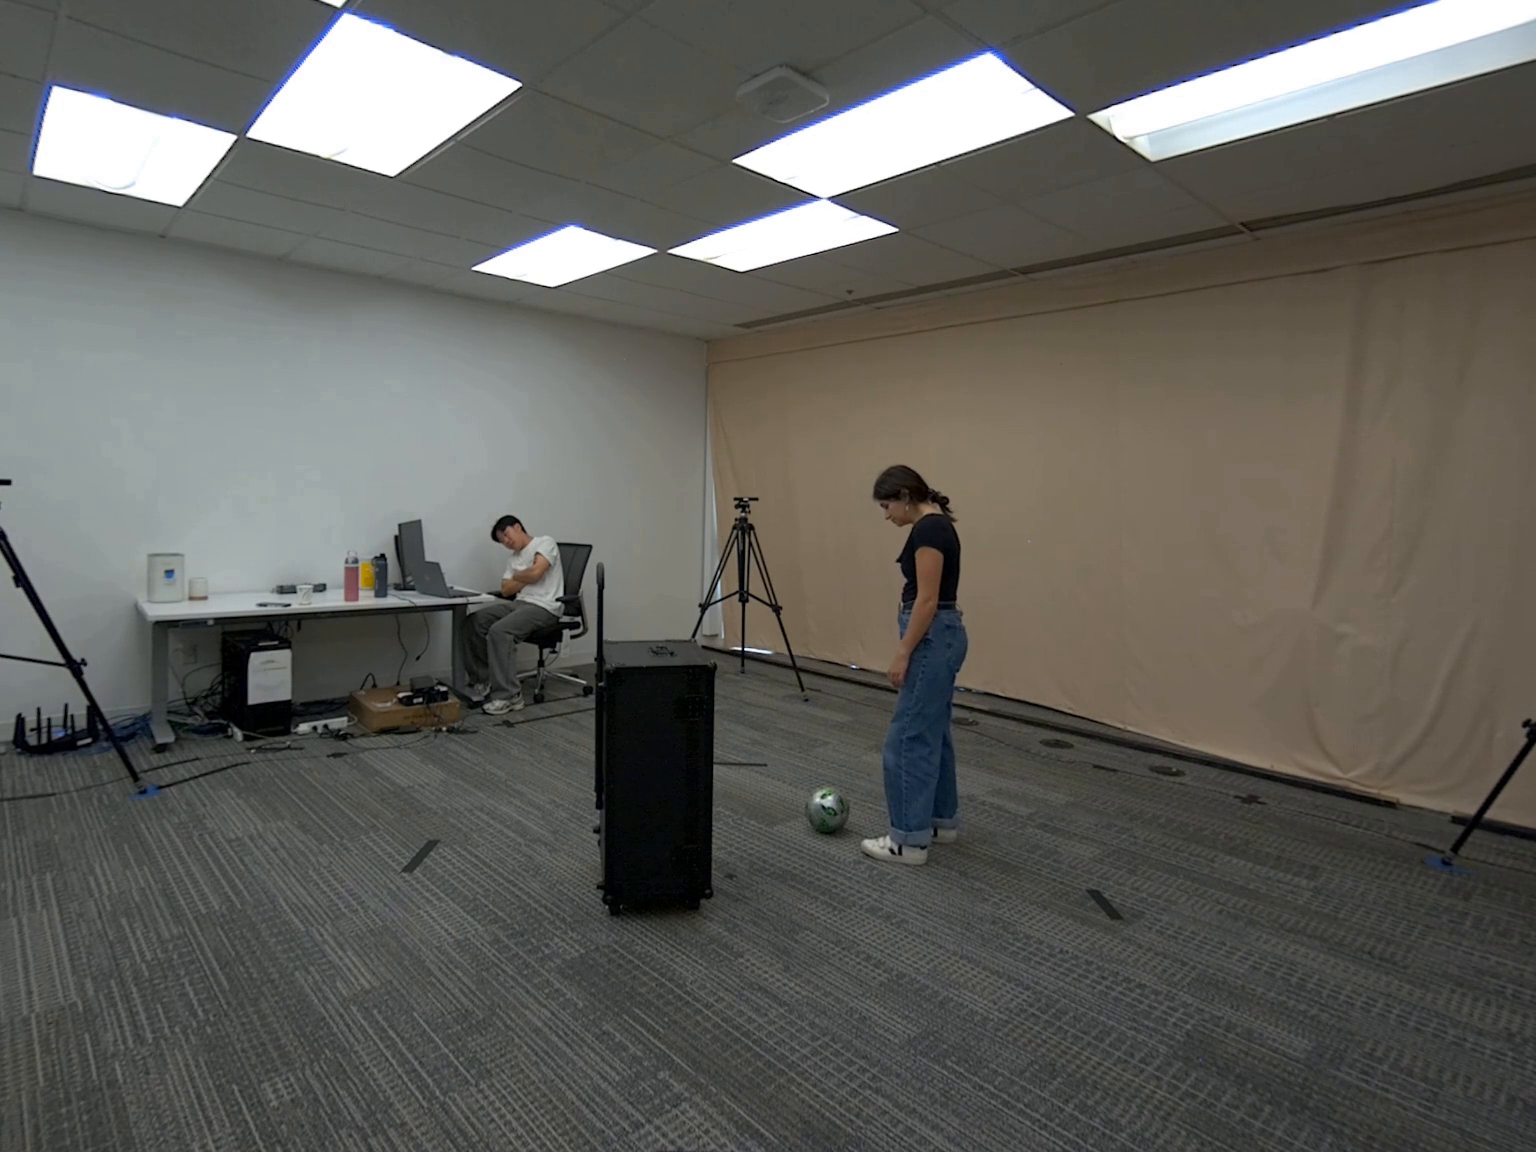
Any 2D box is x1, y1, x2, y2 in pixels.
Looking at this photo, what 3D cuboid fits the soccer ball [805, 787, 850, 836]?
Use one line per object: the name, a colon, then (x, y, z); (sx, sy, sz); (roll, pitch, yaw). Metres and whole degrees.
soccer ball: (0.241, 0.989, 3.553); (0.187, 0.187, 0.188); (1, 4, -1)
